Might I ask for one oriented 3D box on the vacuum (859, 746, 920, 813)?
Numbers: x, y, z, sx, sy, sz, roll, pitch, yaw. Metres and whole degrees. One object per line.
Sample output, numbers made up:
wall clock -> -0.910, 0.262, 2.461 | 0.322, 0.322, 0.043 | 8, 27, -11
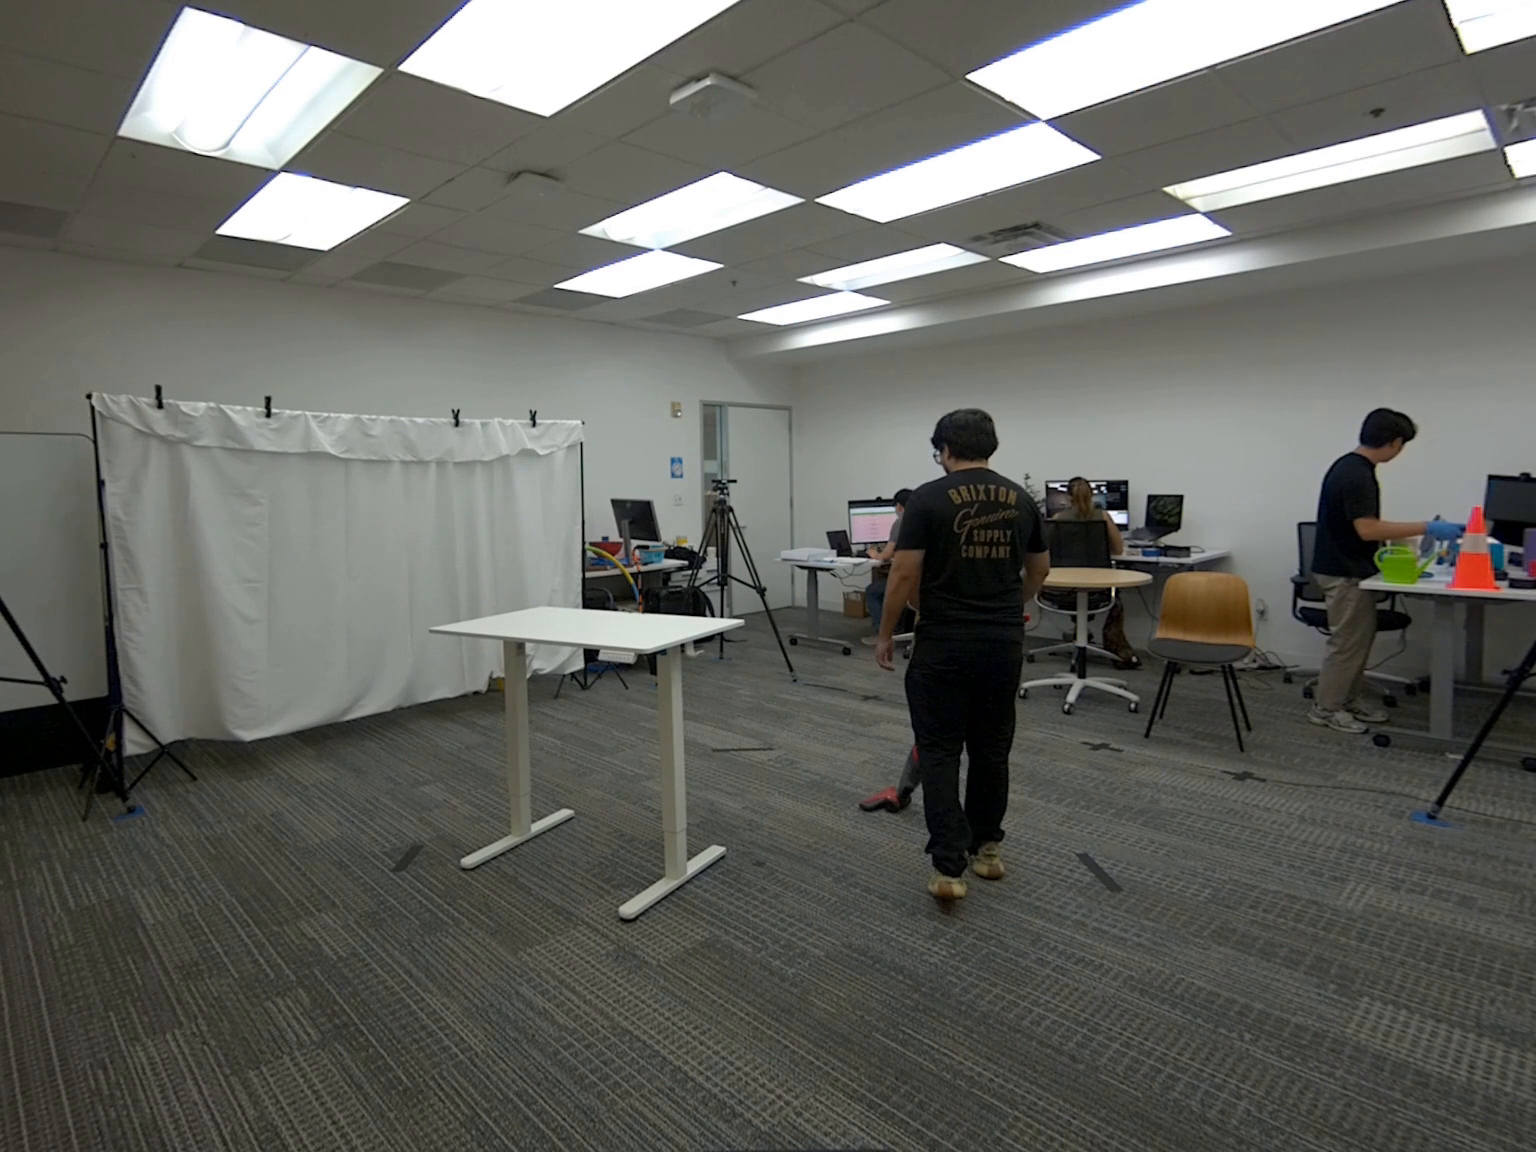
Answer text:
vacuum -> 0.731, 0.562, 3.422 | 0.246, 1.040, 0.149 | -6, 41, -48
